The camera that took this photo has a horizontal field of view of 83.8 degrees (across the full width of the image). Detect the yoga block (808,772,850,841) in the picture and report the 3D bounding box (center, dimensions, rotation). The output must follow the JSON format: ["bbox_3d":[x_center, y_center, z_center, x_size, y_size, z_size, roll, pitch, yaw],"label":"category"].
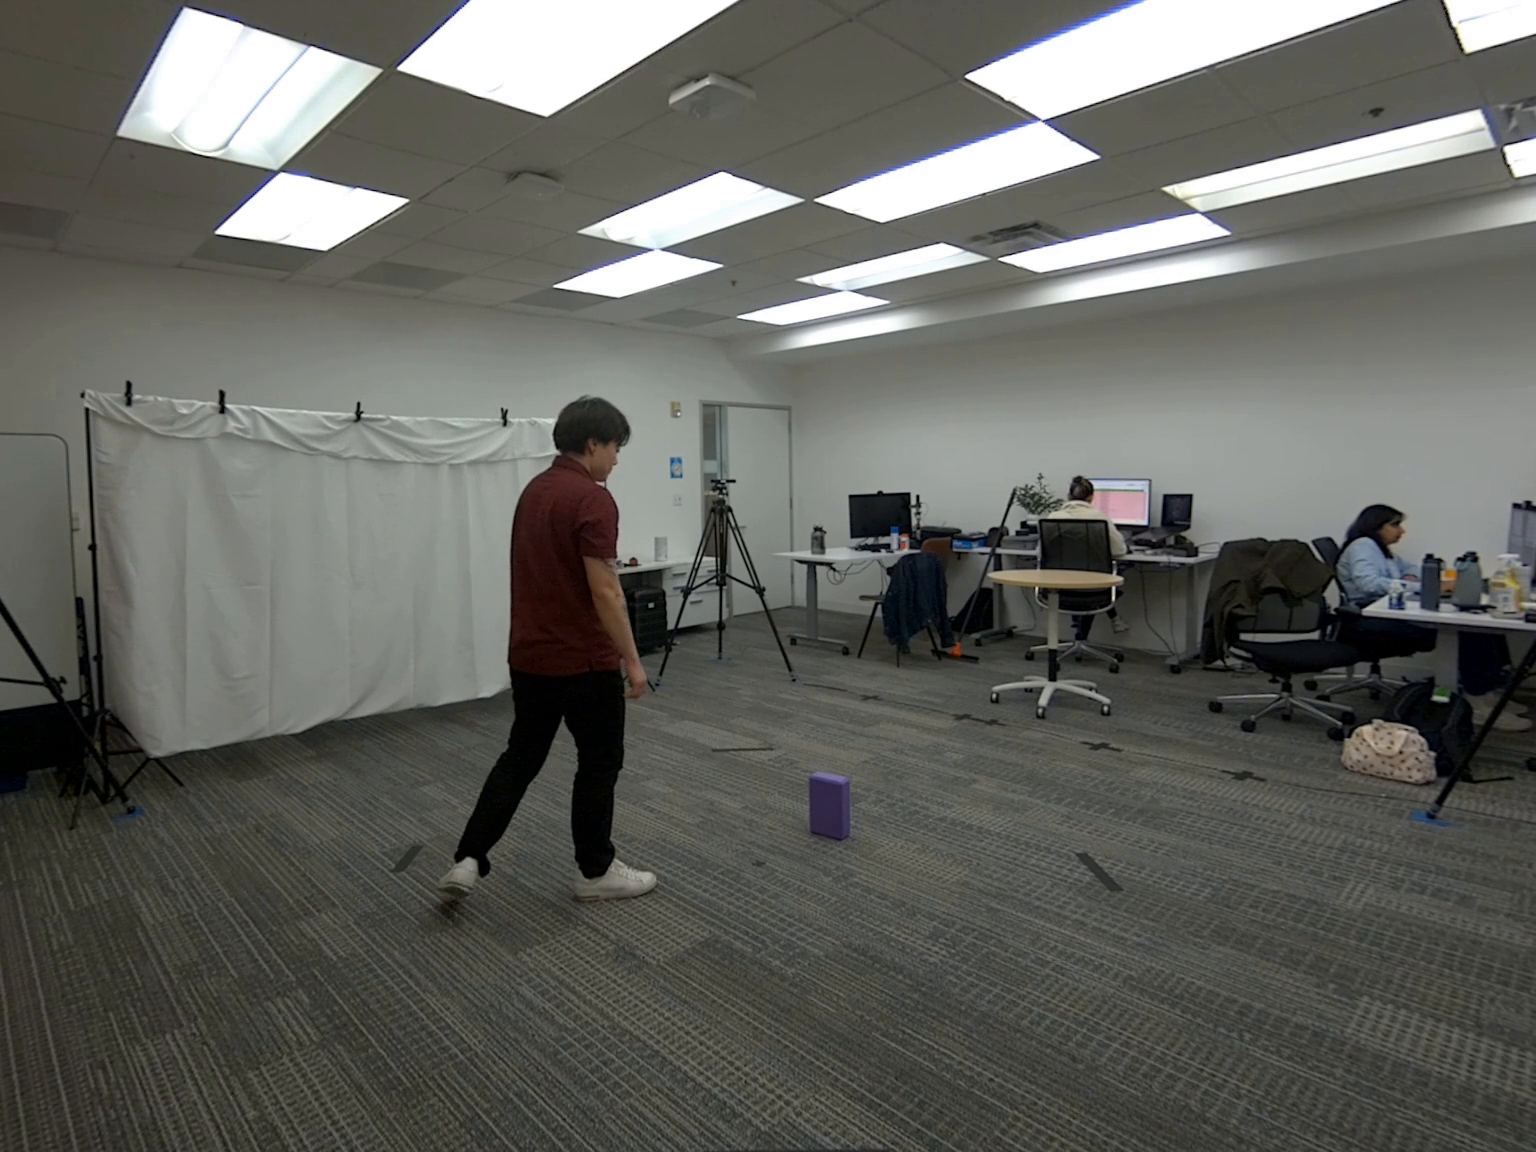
[{"bbox_3d":[0.243,0.899,3.354,0.153,0.228,0.074,3,5,34],"label":"yoga block"}]
